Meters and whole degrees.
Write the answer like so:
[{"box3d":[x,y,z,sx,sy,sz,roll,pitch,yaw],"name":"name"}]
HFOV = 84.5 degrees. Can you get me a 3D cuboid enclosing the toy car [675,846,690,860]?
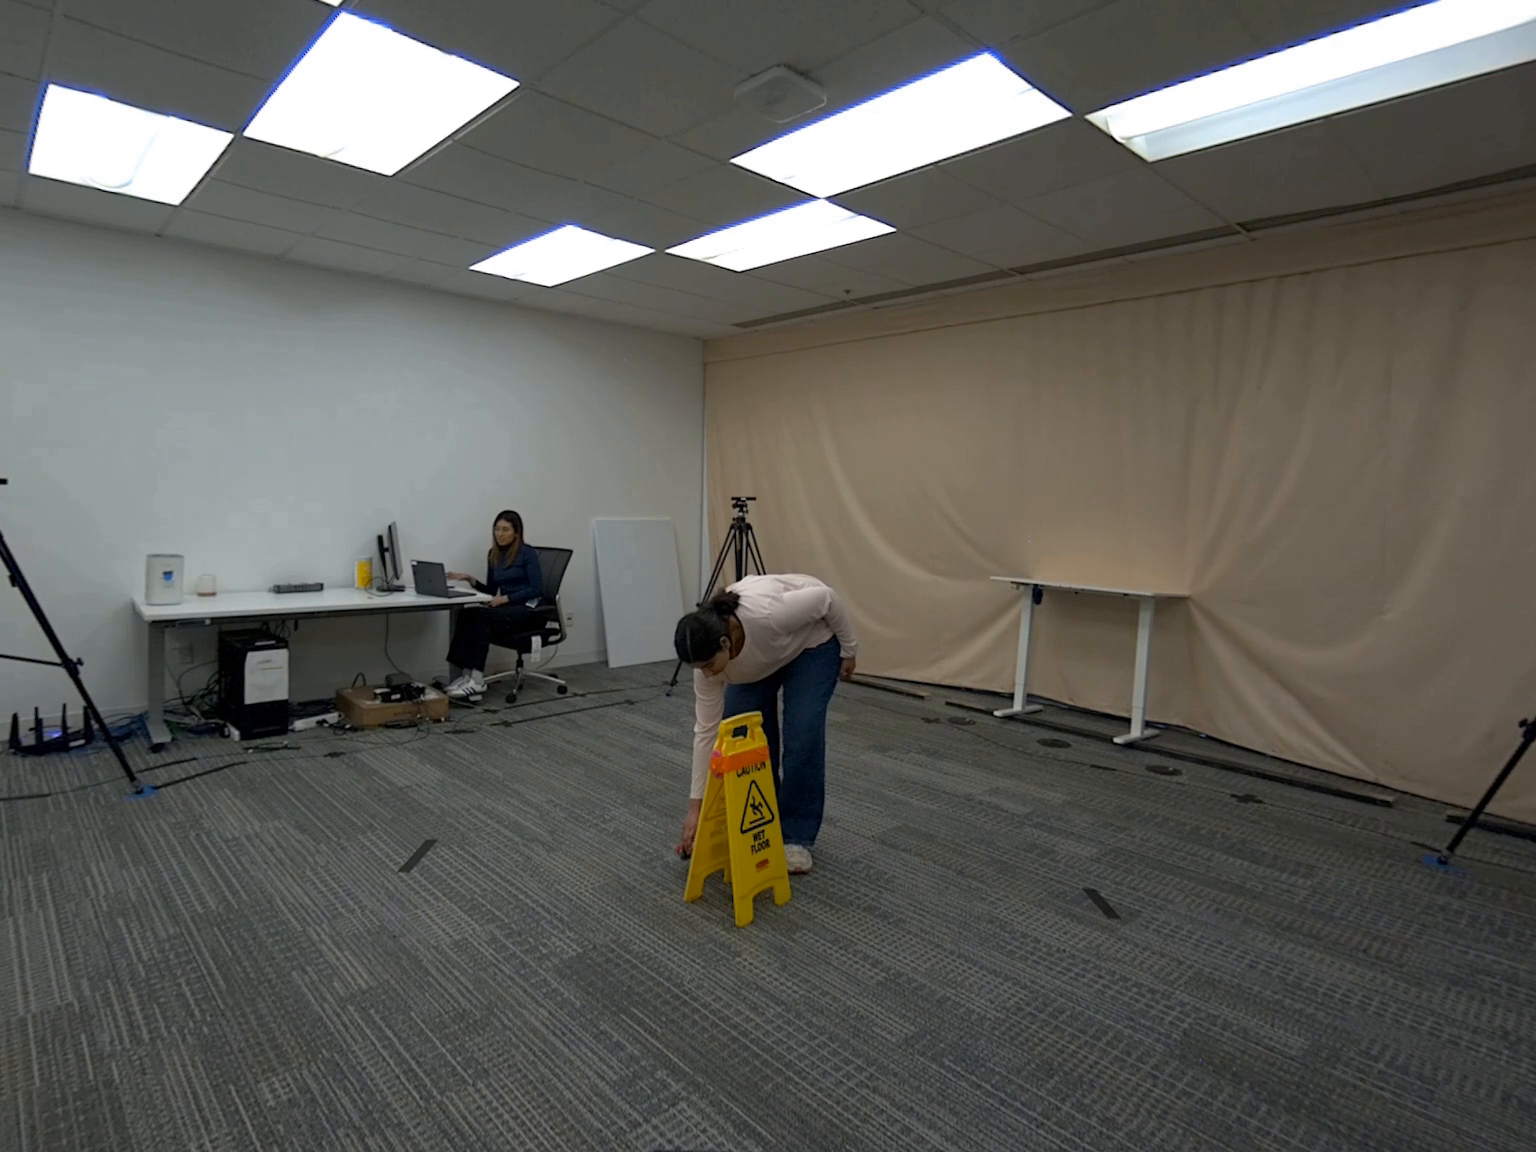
[{"box3d":[-0.245,0.980,3.086,0.127,0.084,0.257,-4,-15,-40],"name":"toy car"}]
